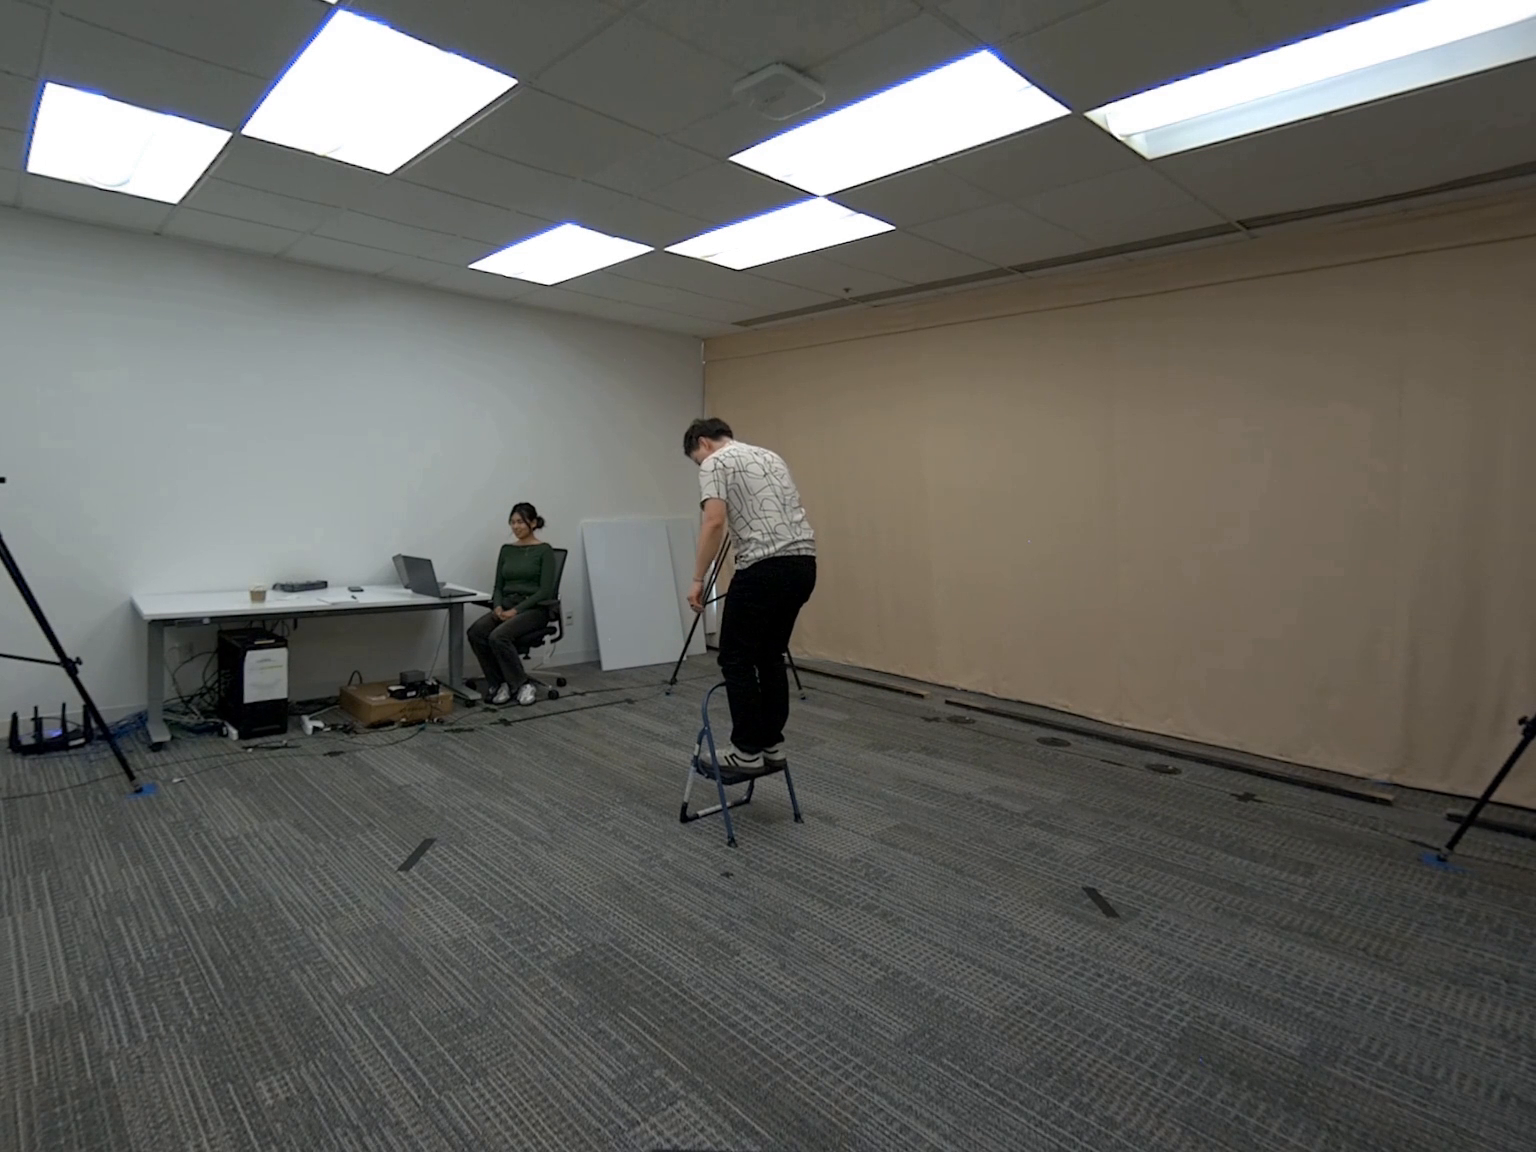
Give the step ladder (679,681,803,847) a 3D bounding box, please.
[{"bbox_3d":[-0.118,0.753,3.602,0.358,0.605,0.421,3,4,44],"label":"step ladder"}]
